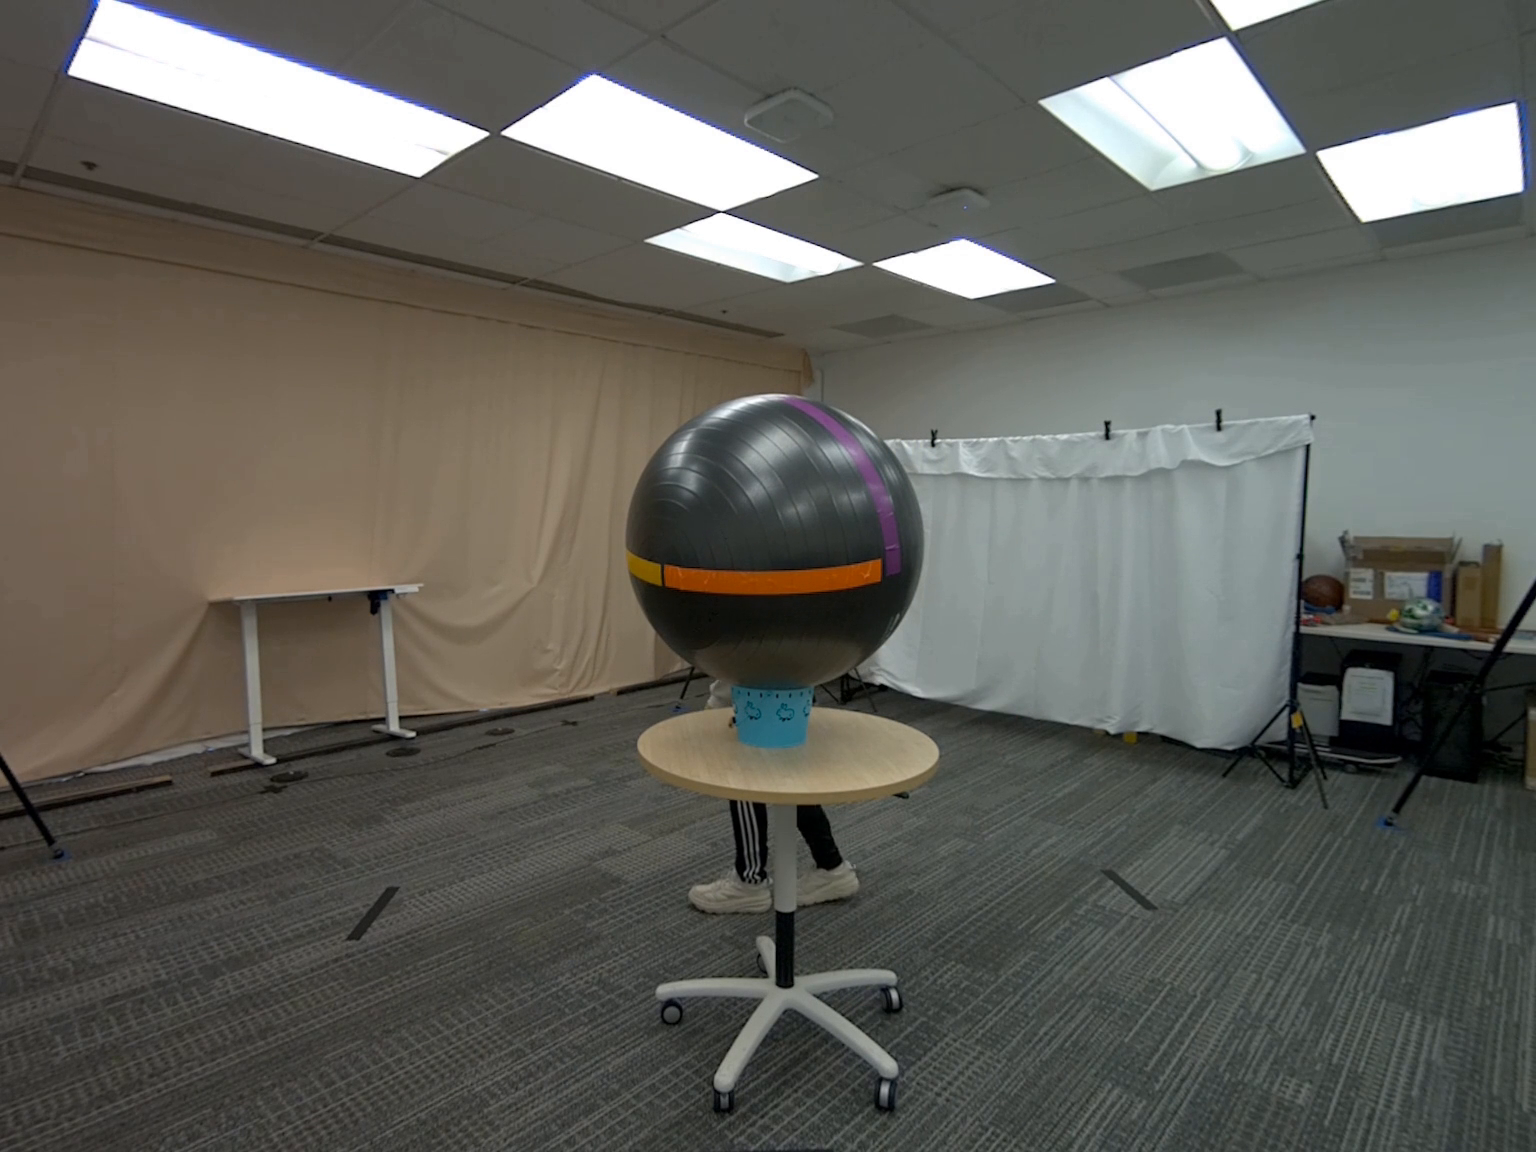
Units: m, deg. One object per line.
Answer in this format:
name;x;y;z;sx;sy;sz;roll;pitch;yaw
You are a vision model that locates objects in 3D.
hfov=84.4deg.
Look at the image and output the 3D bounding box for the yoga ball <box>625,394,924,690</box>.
yoga ball;0.016;-0.082;2.162;0.757;0.756;0.760;0;4;-2
